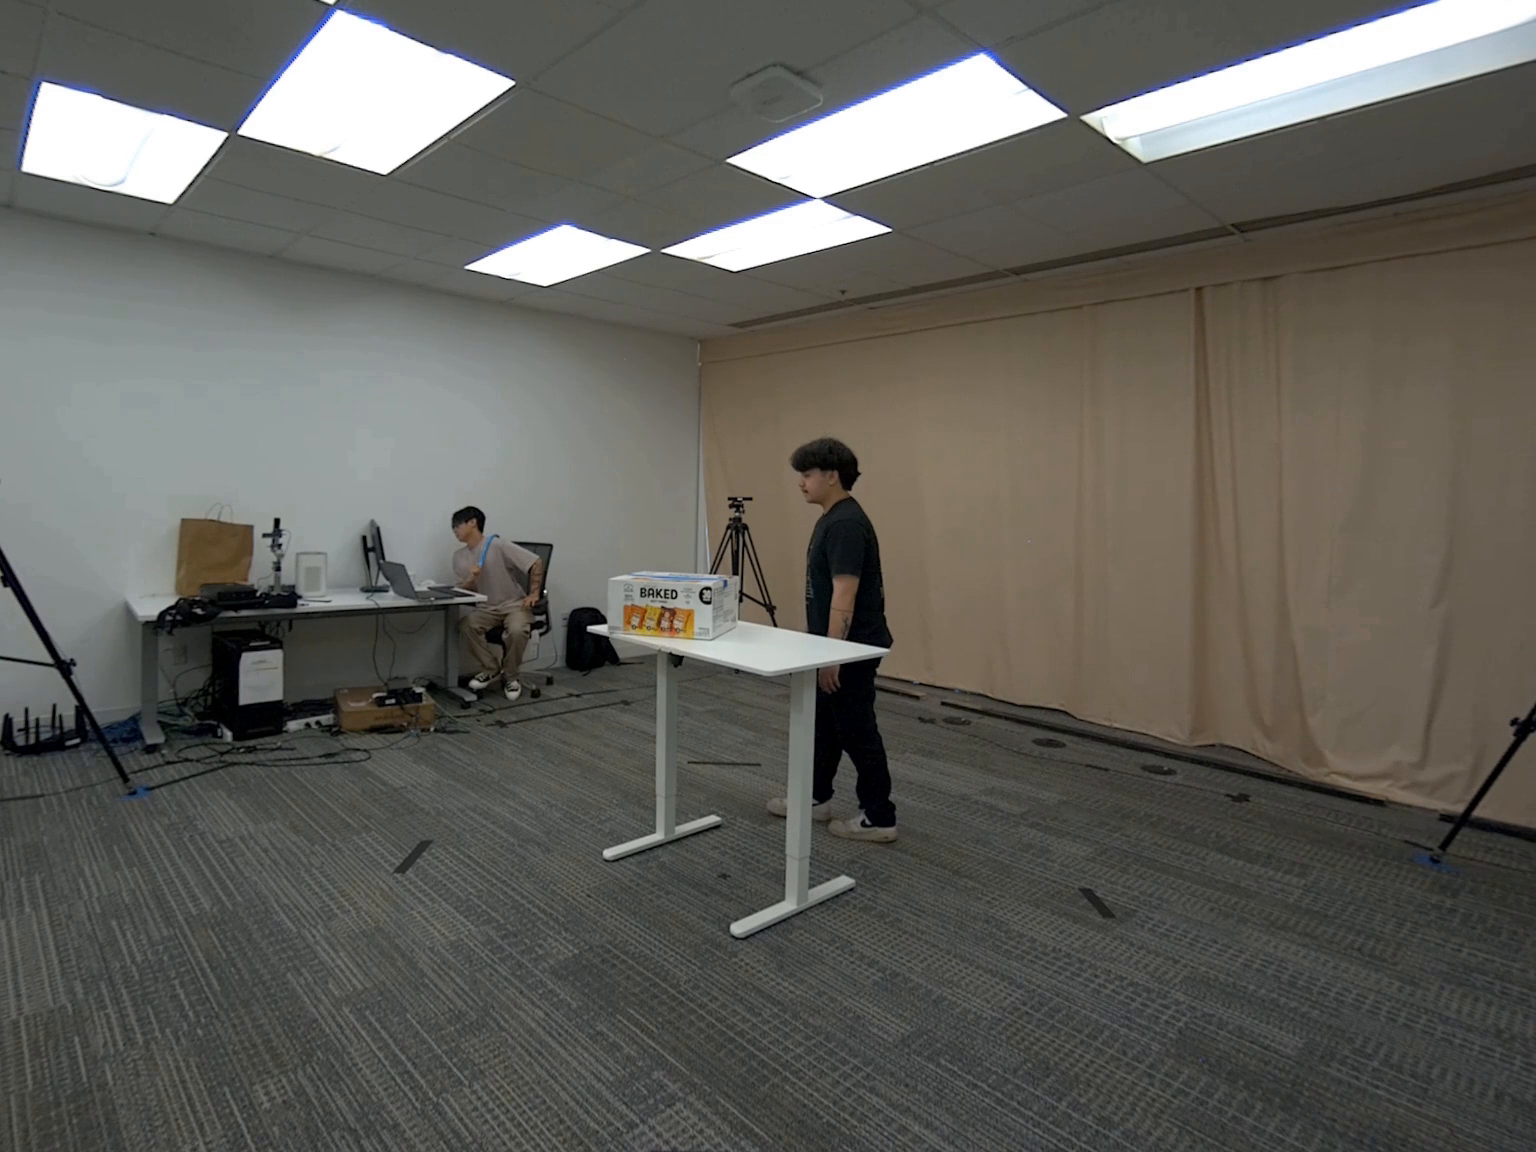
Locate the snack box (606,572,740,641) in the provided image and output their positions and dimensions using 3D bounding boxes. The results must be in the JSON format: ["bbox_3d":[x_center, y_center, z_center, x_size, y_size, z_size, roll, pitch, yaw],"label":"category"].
[{"bbox_3d":[-0.360,0.104,3.214,0.410,0.205,0.337,3,5,15],"label":"snack box"}]
